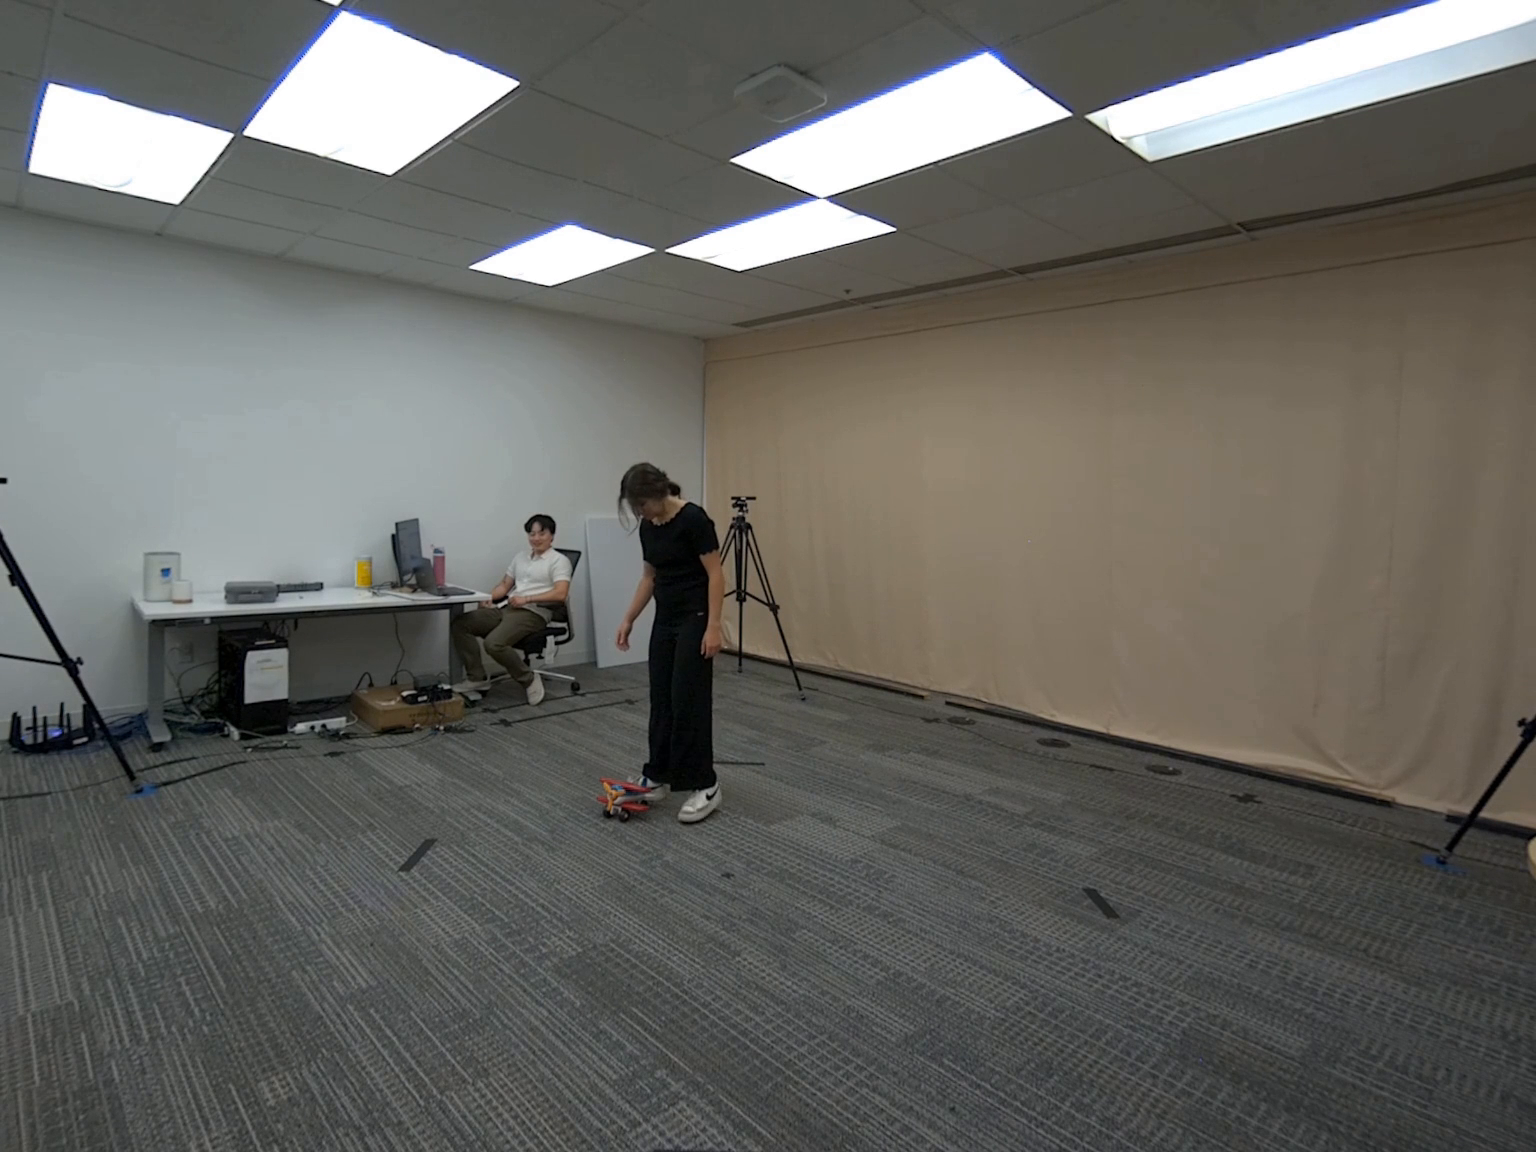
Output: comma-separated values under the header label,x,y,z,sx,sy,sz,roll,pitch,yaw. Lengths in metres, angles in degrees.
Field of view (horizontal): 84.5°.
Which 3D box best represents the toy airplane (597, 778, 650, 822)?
label,x,y,z,sx,sy,sz,roll,pitch,yaw
toy airplane,-0.638,0.968,3.696,0.251,0.156,0.260,2,6,1
